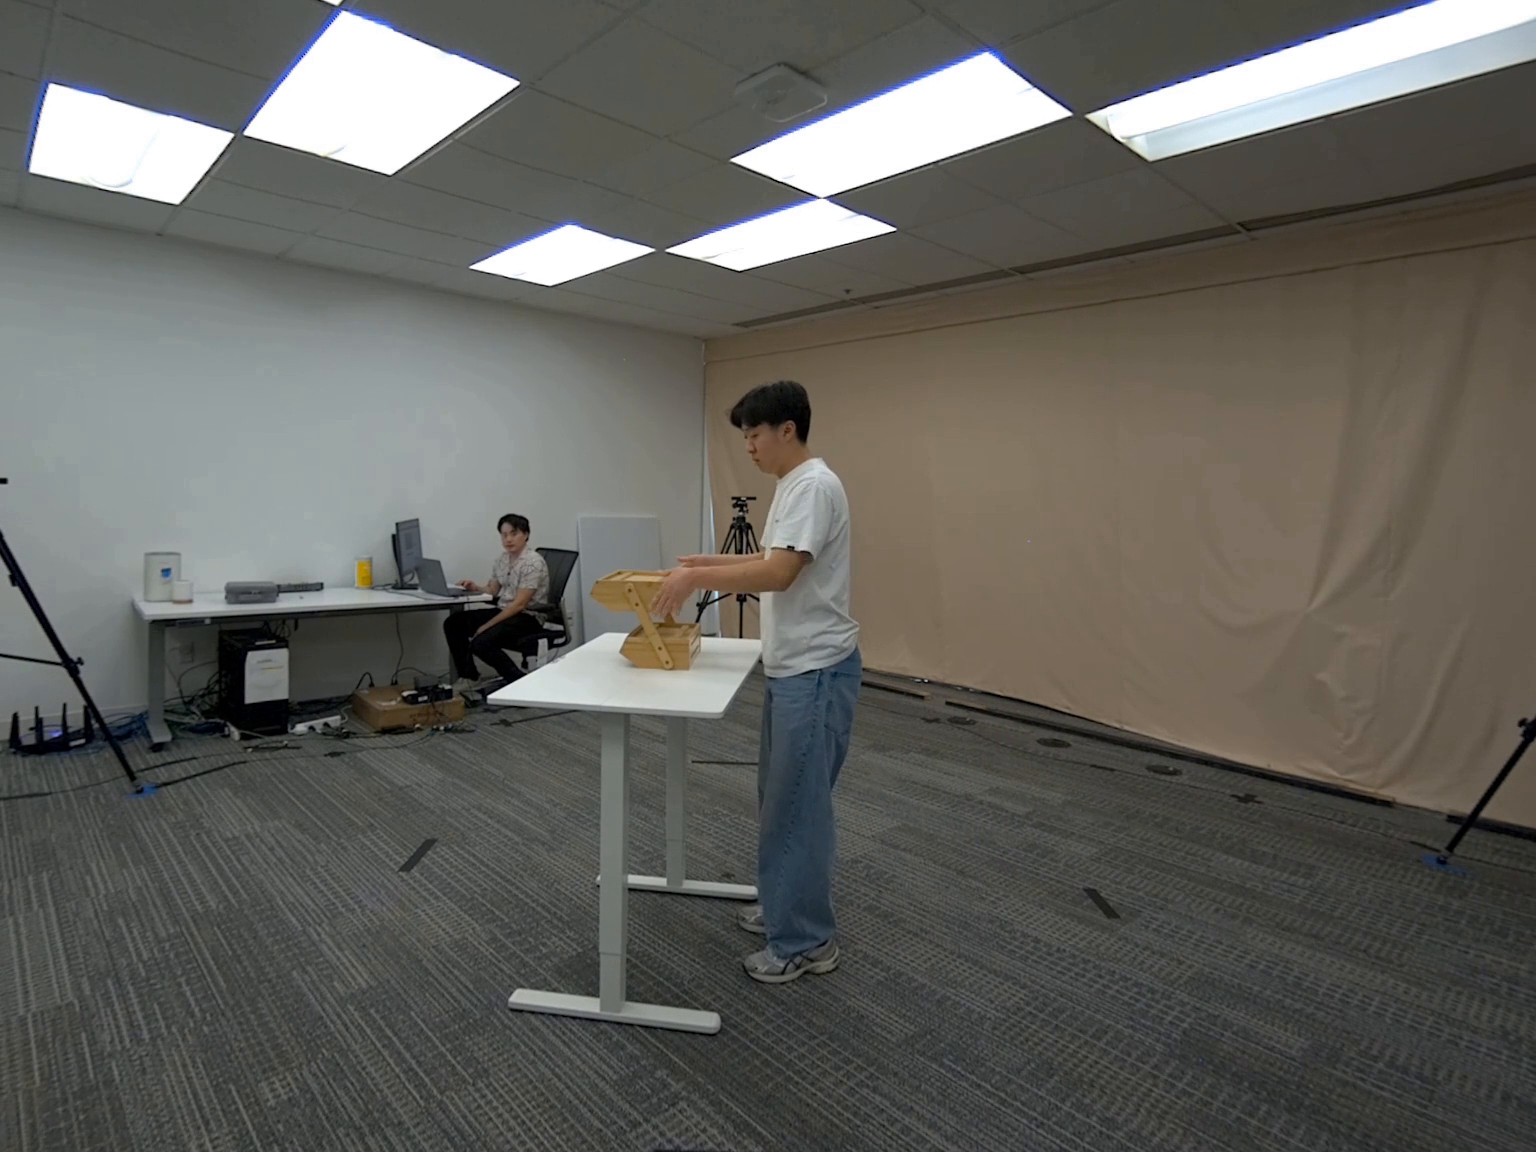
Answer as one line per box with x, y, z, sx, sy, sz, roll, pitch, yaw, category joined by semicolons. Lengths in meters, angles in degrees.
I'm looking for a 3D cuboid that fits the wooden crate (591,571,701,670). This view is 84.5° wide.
-0.374;0.140;2.626;0.303;0.272;0.325;1;7;3;wooden crate
